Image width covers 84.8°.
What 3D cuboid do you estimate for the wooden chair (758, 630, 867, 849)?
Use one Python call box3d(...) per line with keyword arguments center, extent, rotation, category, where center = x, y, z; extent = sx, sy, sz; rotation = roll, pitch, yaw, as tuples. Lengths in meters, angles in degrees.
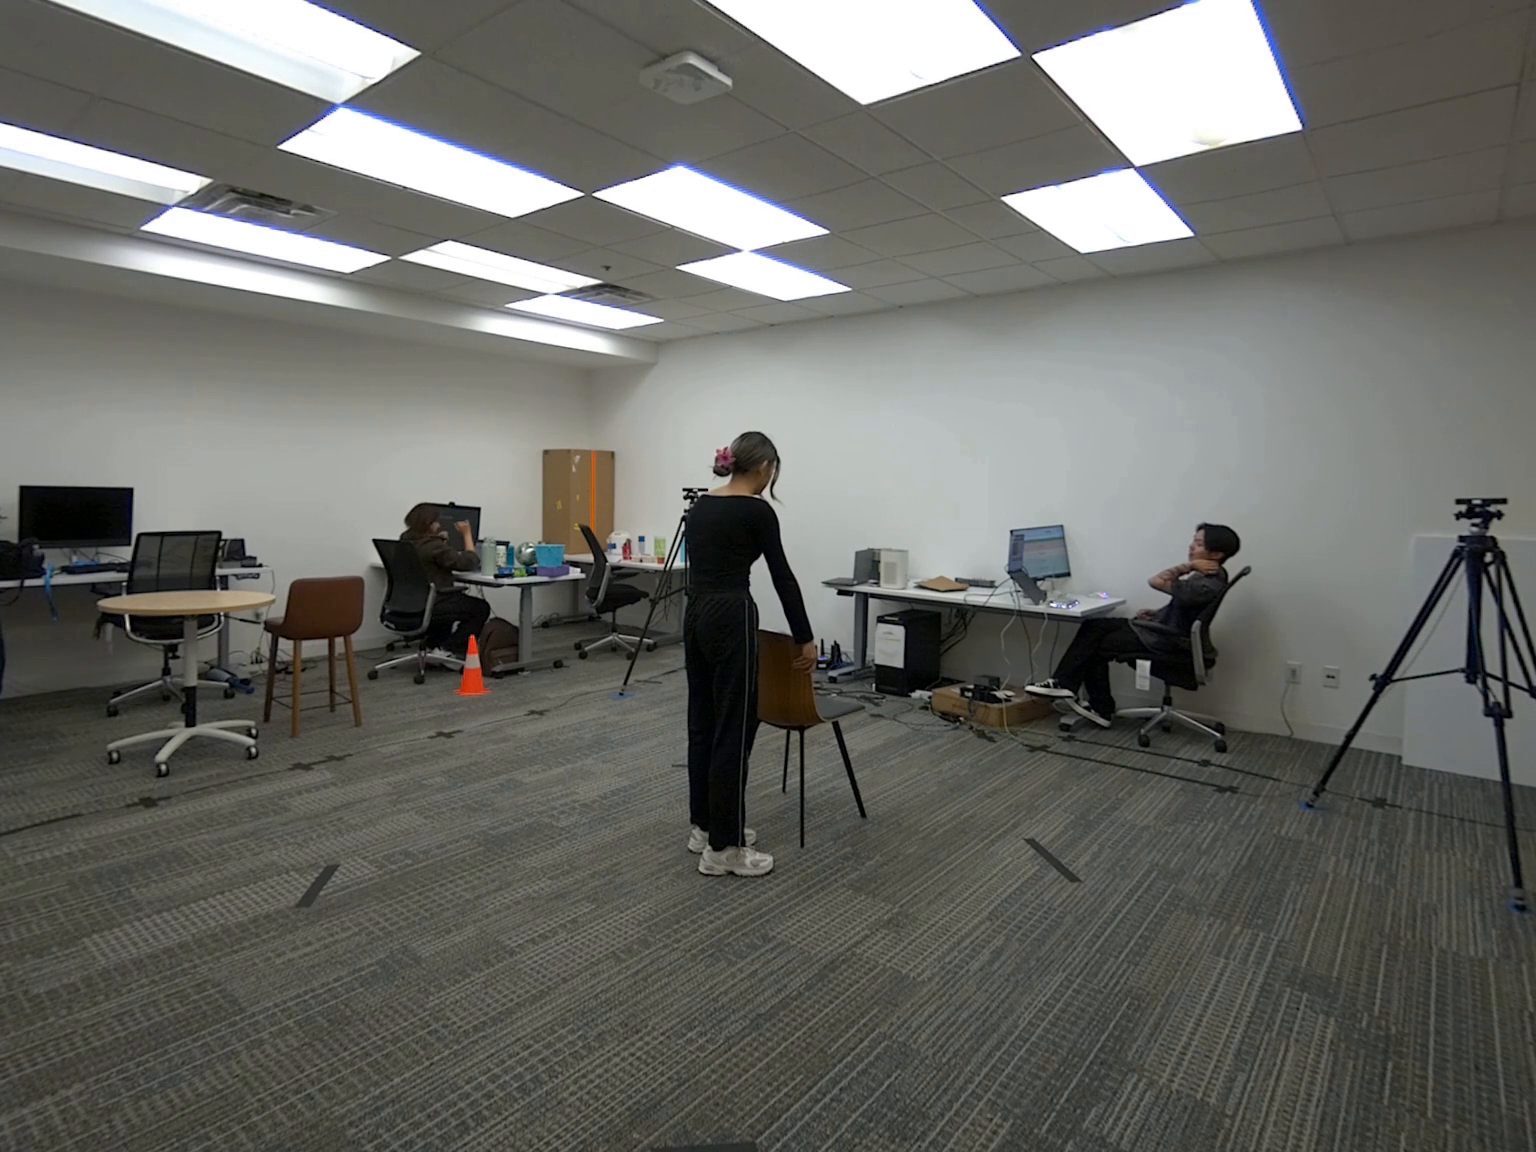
box3d(center=(0.107, 0.601, 3.608), extent=(0.494, 0.872, 0.509), rotation=(3, 8, 41), category="wooden chair")
